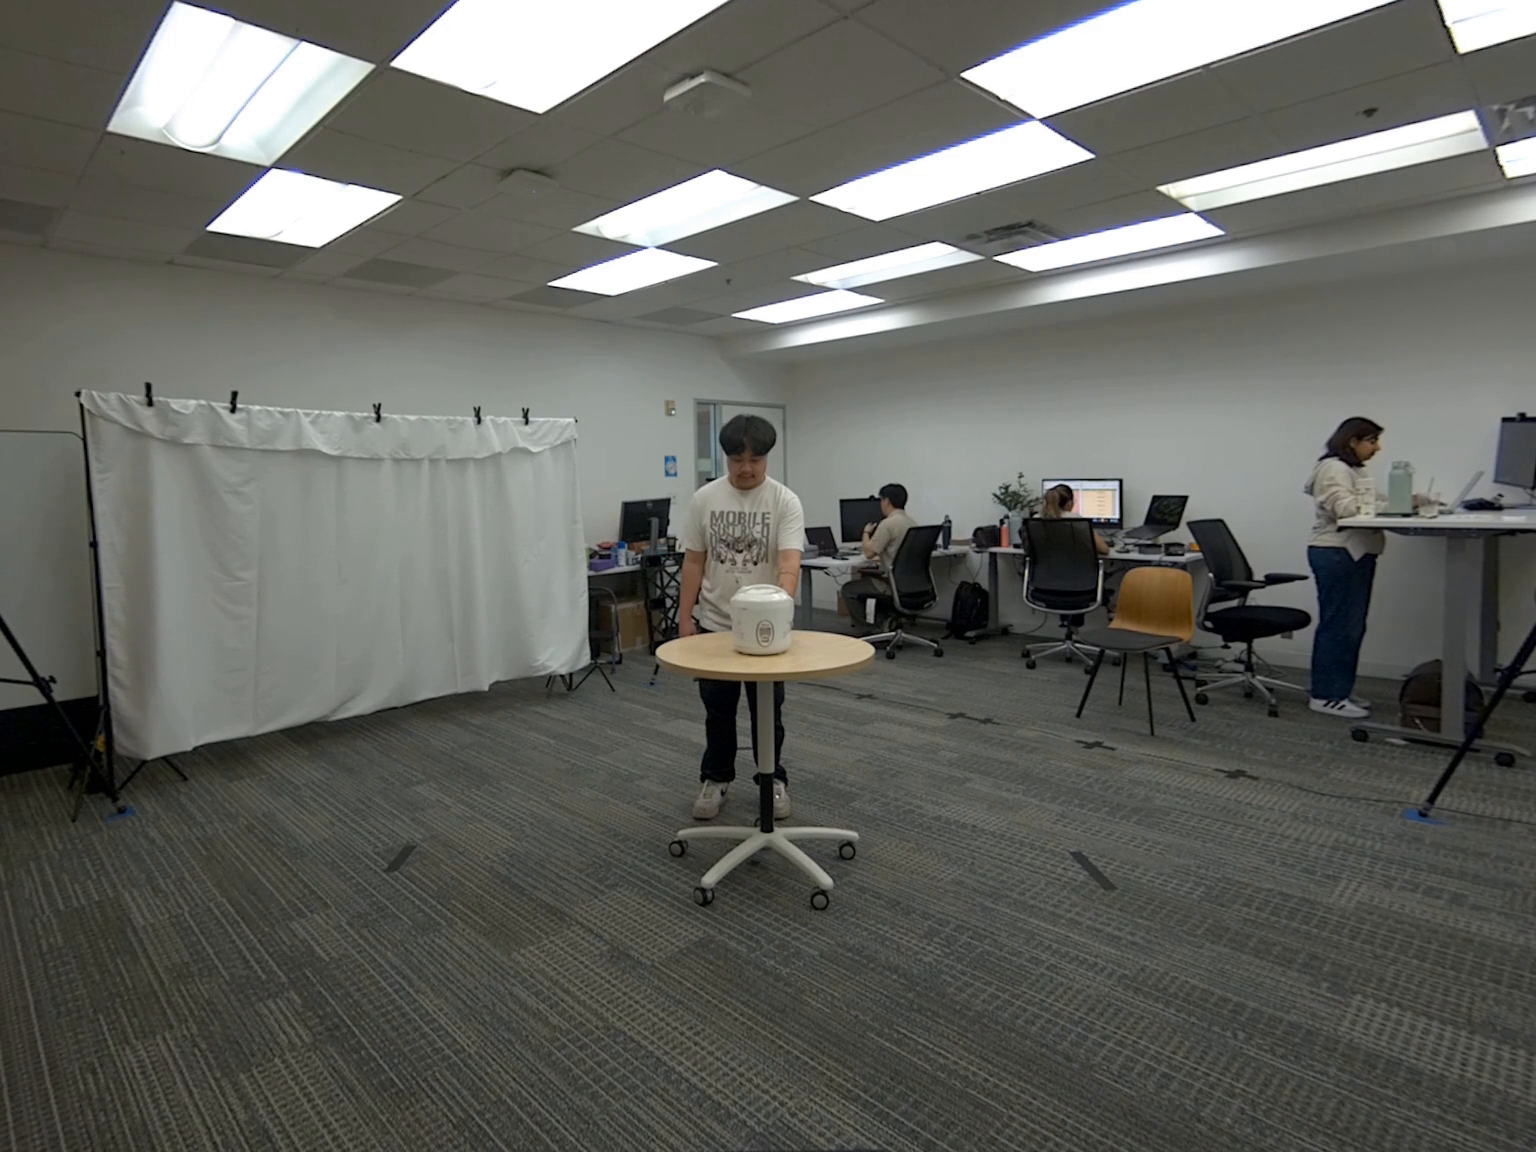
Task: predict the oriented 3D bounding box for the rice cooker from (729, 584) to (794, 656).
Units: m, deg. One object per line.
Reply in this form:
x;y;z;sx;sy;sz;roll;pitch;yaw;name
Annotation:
-0.022;0.144;2.956;0.219;0.232;0.220;-1;6;-6;rice cooker
